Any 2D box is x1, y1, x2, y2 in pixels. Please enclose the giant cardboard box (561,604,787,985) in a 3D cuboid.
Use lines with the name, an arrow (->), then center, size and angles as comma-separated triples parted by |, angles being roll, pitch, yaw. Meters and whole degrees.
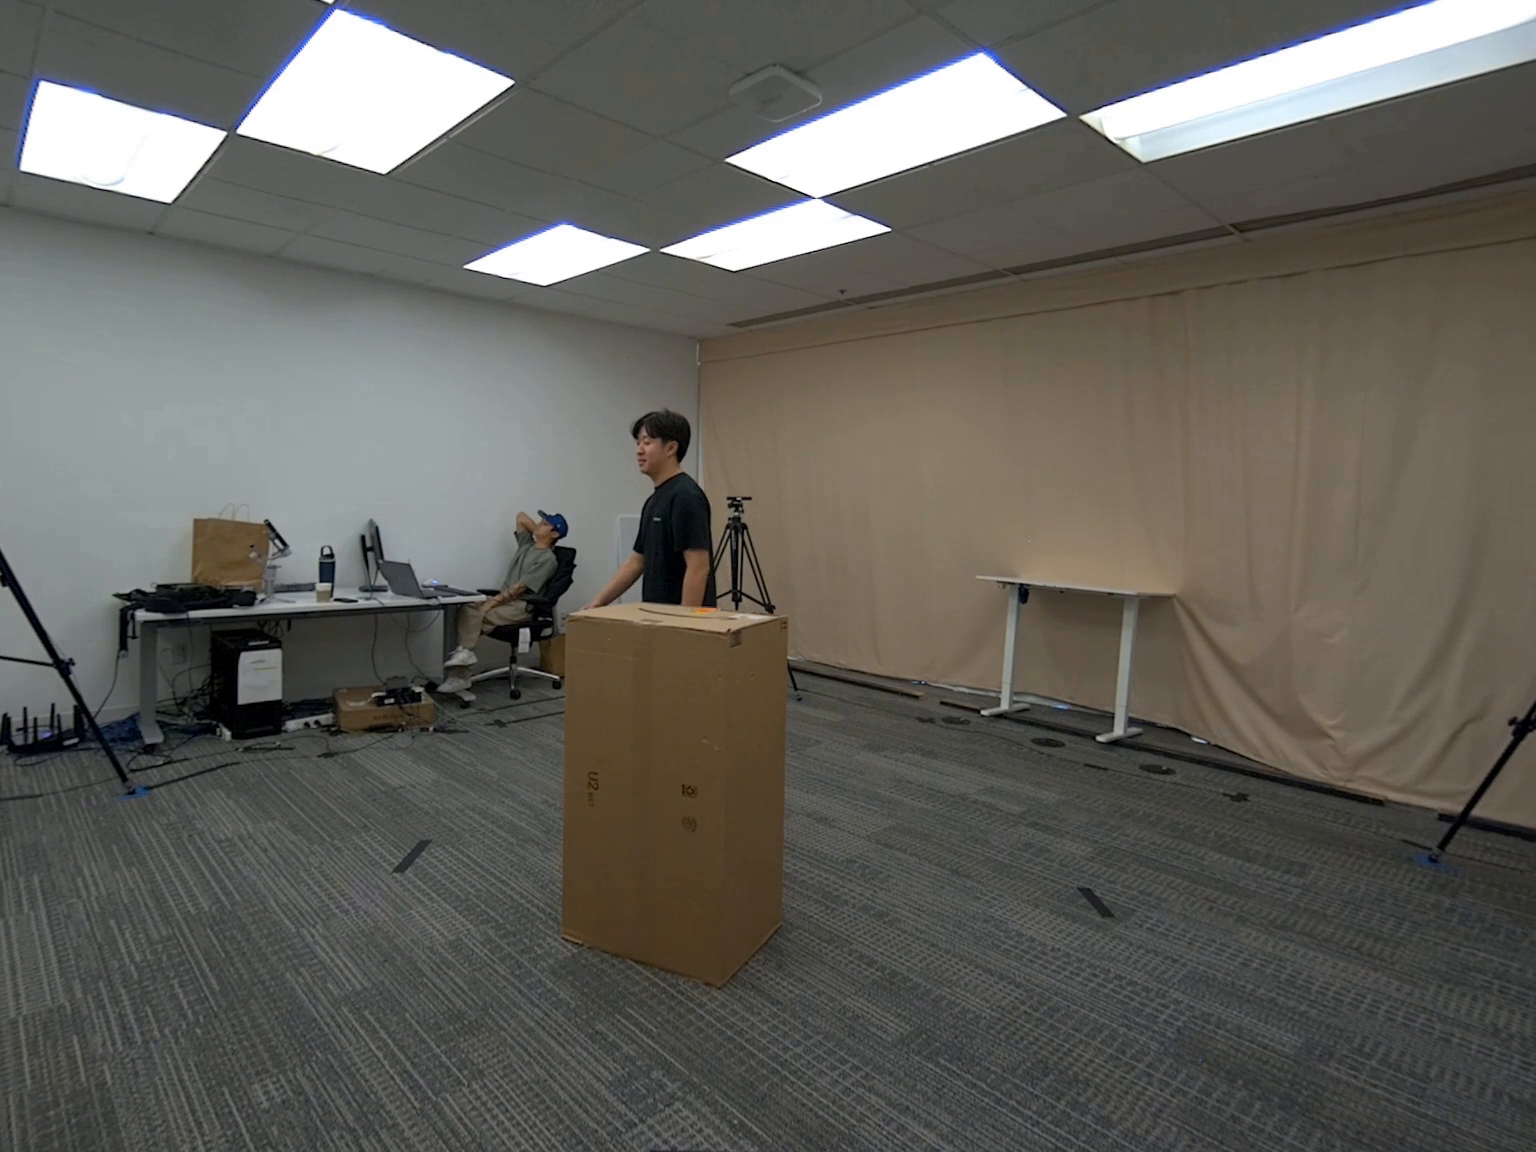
giant cardboard box -> -0.293, 0.631, 2.679 | 0.596, 1.025, 0.438 | 3, 3, 28
